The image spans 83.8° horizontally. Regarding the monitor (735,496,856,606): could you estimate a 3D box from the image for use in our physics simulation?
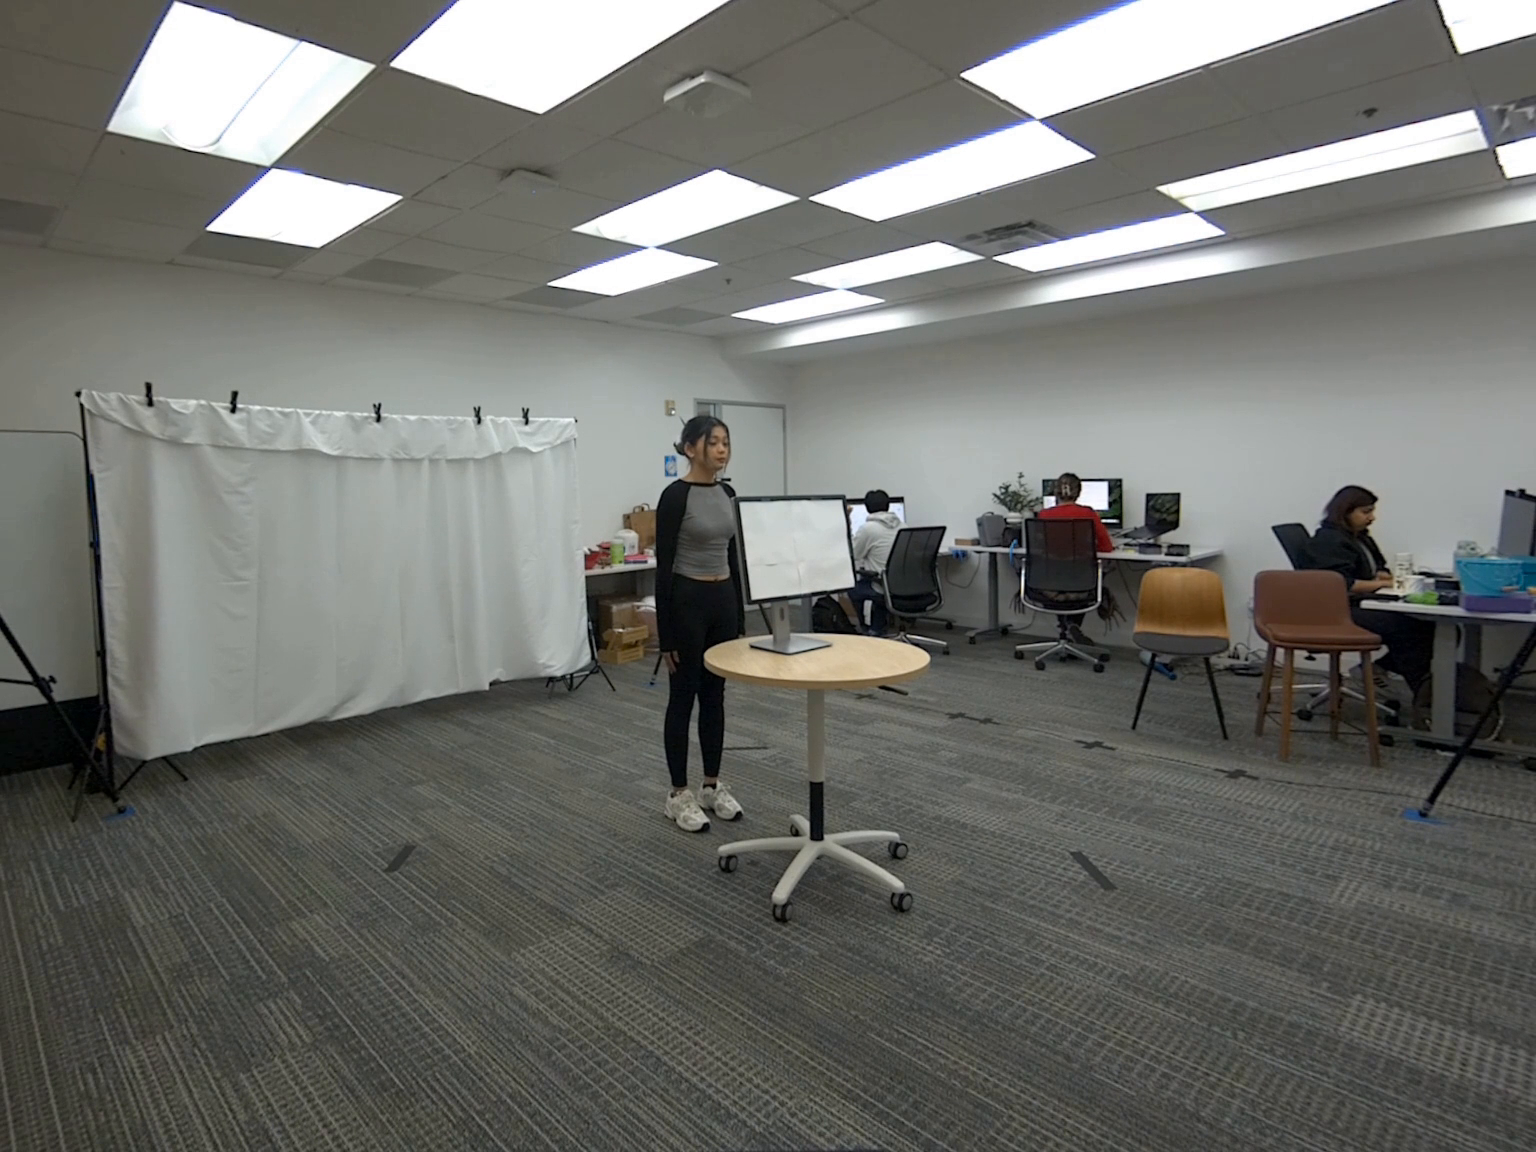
[{"bbox_3d":[0.083,-0.010,3.048,0.525,0.520,0.193,-5,8,-44],"label":"monitor"}]
